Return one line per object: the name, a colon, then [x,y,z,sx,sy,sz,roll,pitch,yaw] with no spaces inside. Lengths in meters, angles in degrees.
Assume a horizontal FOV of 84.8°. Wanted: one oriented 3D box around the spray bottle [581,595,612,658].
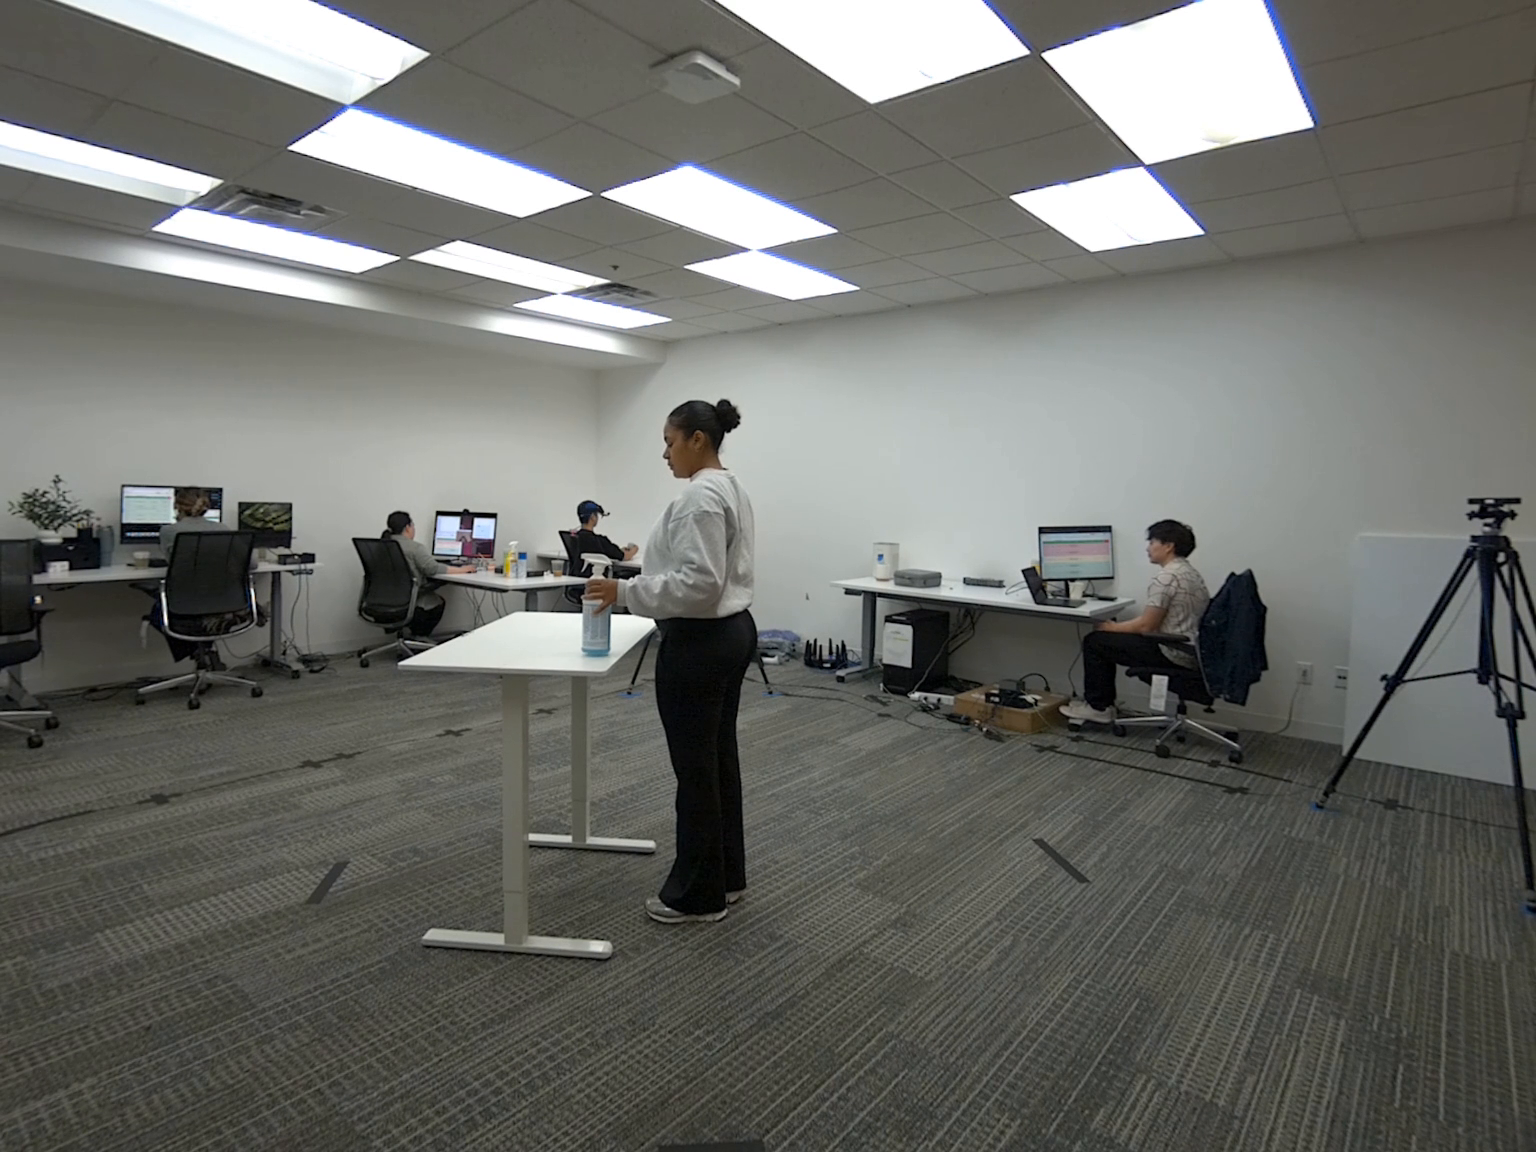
spray bottle: [-0.524,0.078,2.560,0.092,0.297,0.085,1,0,17]
